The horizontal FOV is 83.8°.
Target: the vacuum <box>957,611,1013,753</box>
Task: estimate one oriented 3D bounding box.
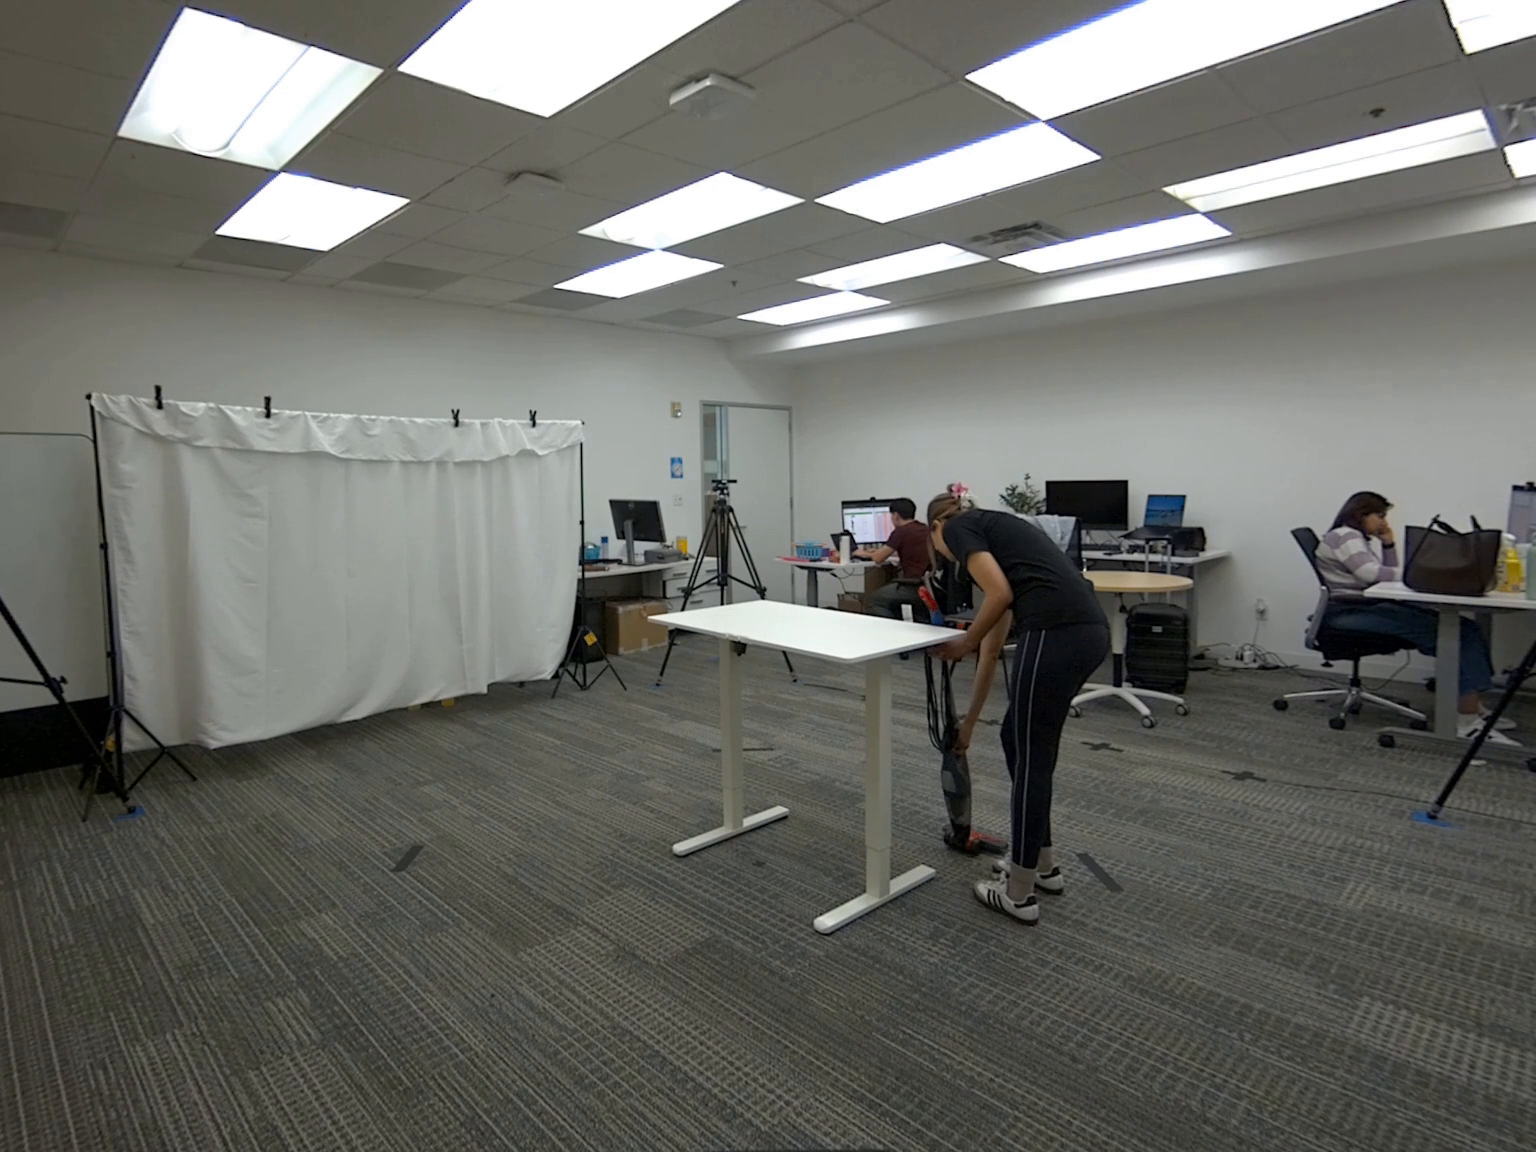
[{"bbox_3d":[0.667,0.533,3.075,0.142,1.031,0.261,-26,21,-39],"label":"vacuum"}]
